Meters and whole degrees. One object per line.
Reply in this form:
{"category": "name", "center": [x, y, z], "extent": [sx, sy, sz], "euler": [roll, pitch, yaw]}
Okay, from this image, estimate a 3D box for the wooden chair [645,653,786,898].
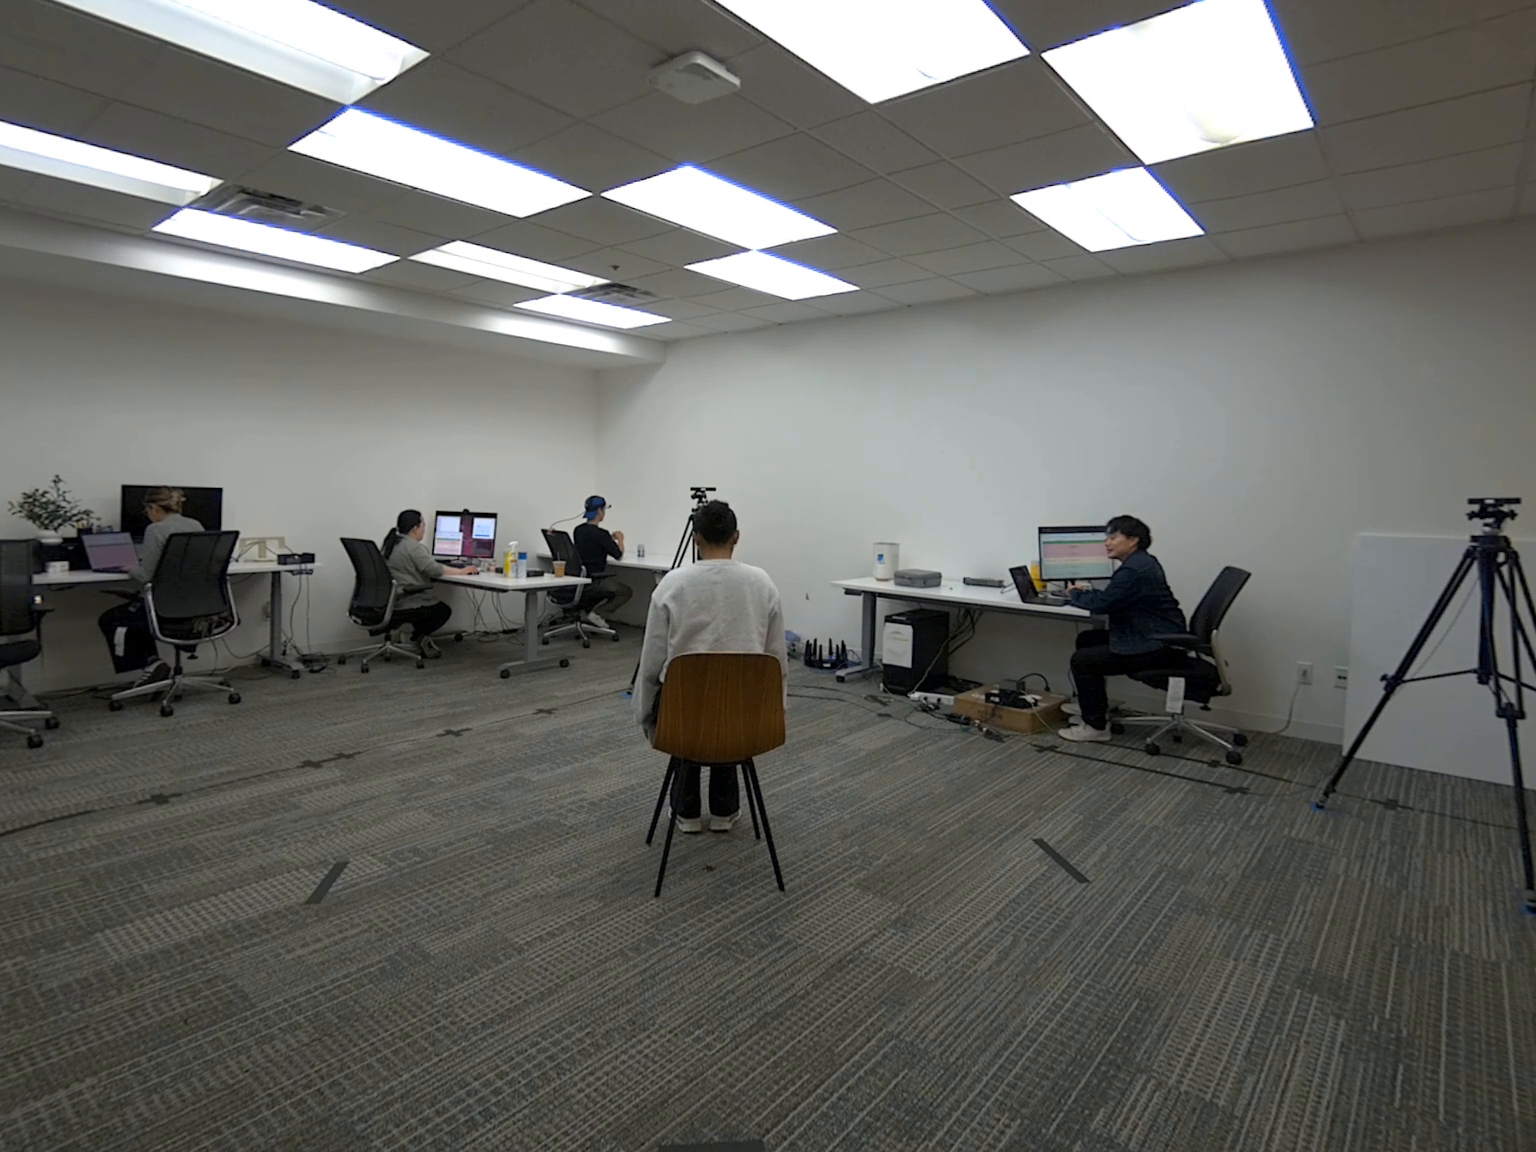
{"category": "wooden chair", "center": [-0.212, 0.639, 3.112], "extent": [0.473, 0.872, 0.532], "euler": [0, 7, -11]}
